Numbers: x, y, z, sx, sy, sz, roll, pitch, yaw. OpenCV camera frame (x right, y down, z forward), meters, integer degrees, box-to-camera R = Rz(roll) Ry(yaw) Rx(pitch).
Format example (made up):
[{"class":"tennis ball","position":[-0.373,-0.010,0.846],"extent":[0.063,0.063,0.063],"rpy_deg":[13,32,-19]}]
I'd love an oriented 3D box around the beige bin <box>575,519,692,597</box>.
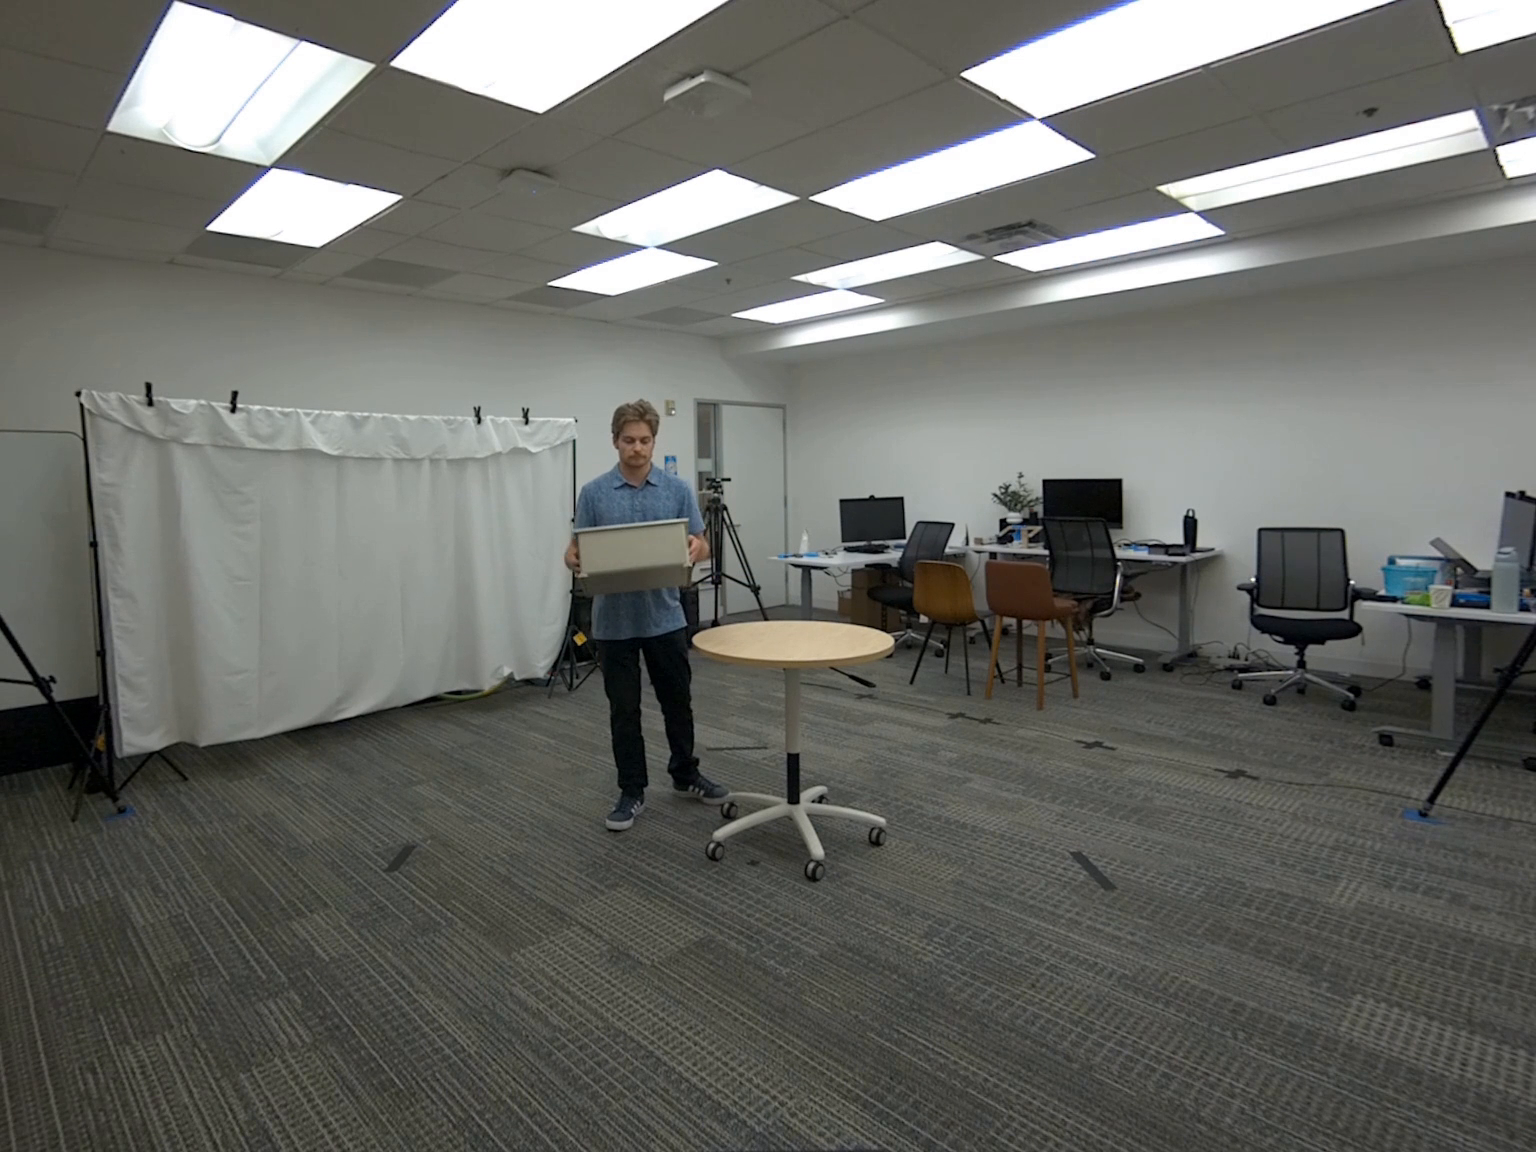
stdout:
[{"class":"beige bin","position":[-0.507,-0.055,3.265],"extent":[0.420,0.192,0.373],"rpy_deg":[-6,-13,-5]}]
